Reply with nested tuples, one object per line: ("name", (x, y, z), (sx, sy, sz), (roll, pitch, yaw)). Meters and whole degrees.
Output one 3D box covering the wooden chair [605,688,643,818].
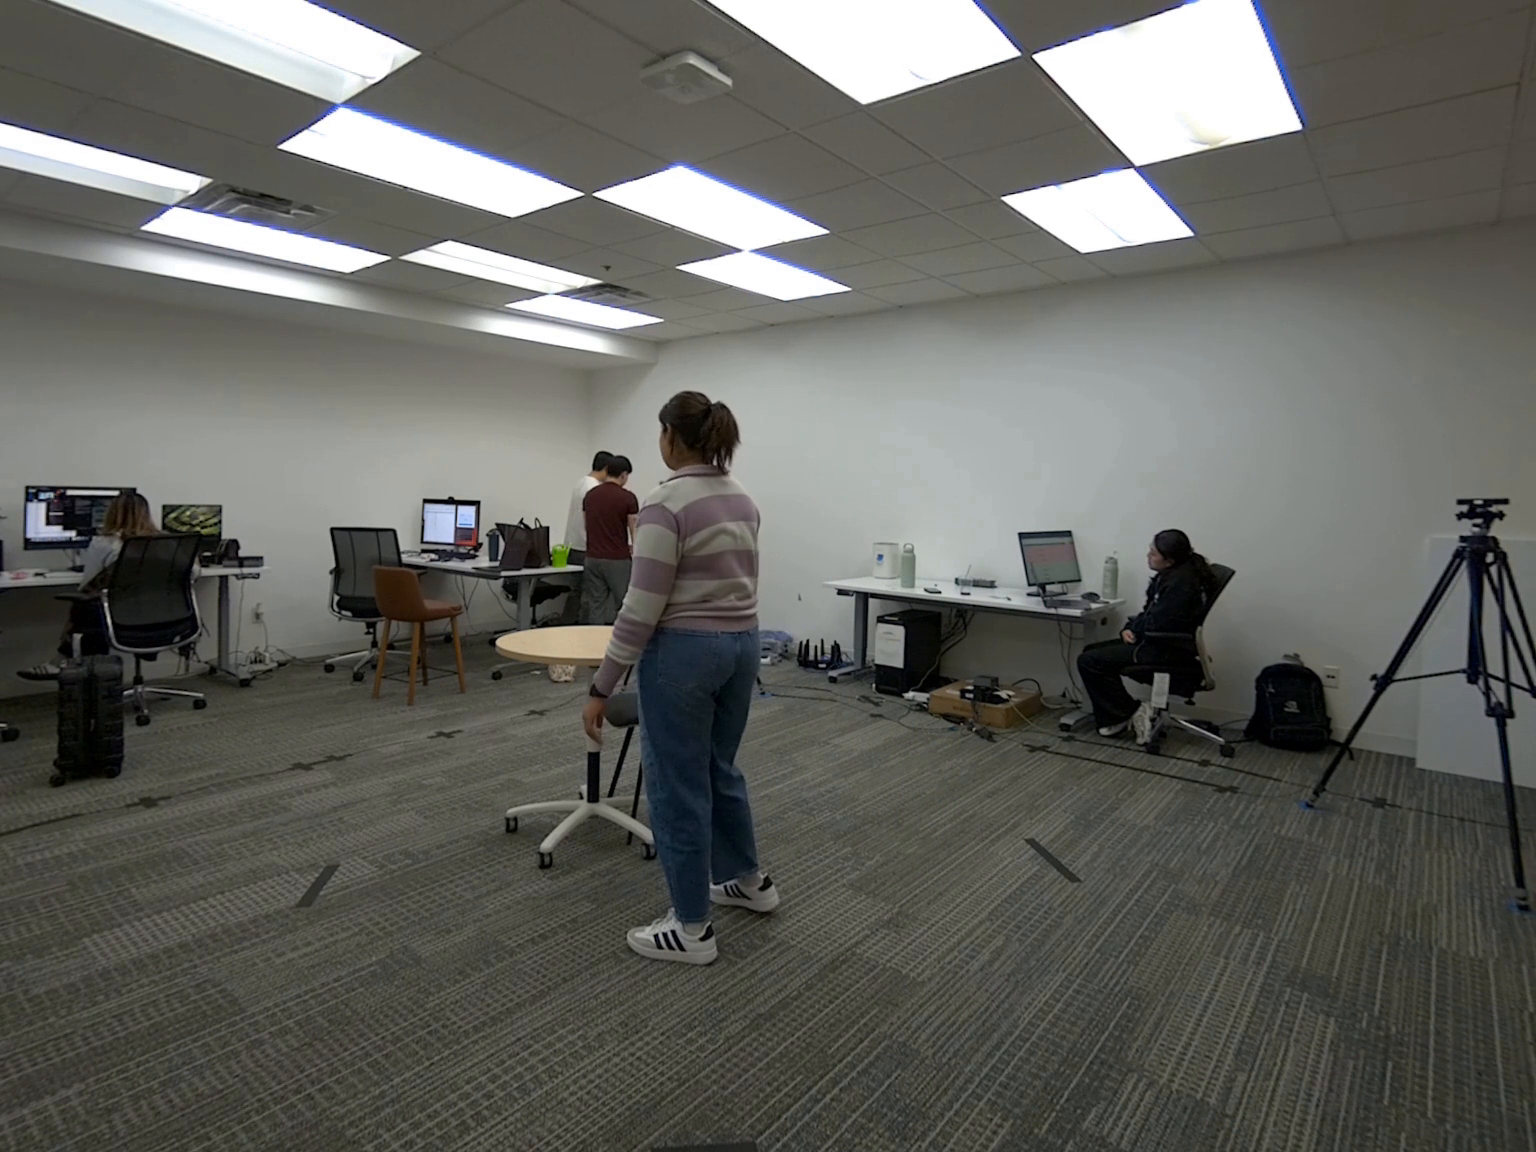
("wooden chair", (-0.428, 0.593, 3.553), (0.512, 0.875, 0.490), (4, 3, -21))
